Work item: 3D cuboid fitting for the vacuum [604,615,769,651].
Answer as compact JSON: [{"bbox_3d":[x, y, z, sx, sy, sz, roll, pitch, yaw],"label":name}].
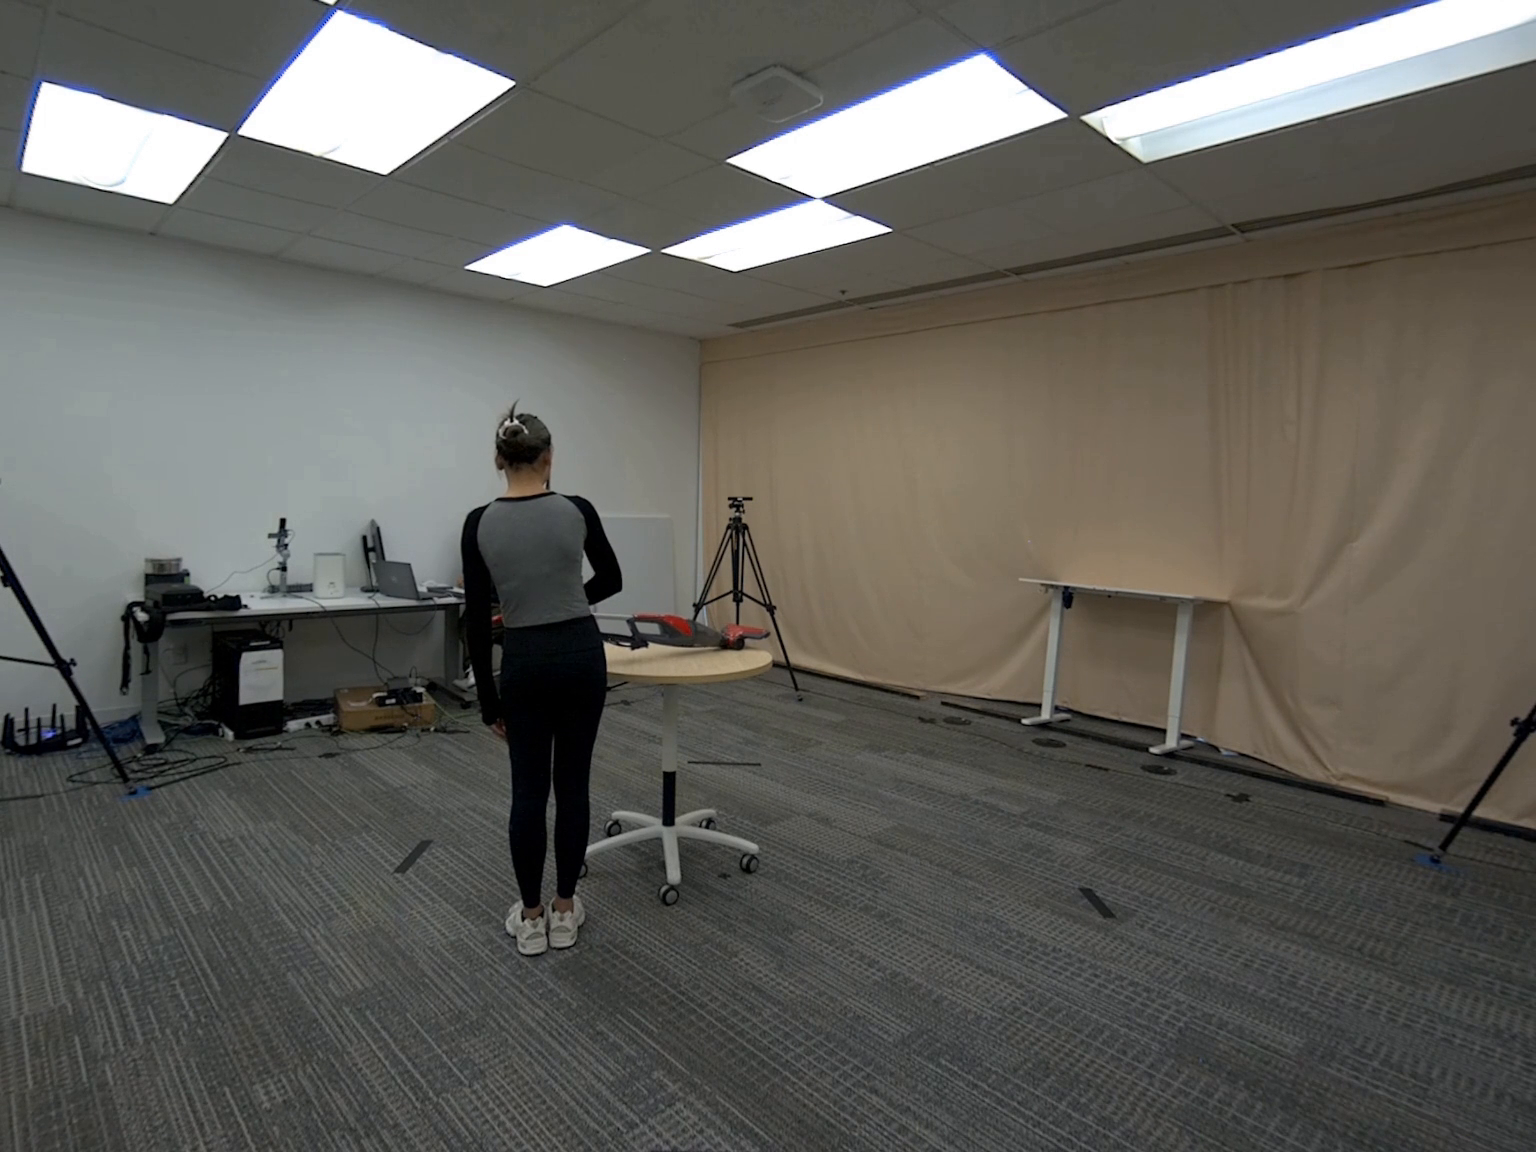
[{"bbox_3d":[-0.504,0.209,3.093,1.022,0.144,0.259,8,1,-41],"label":"vacuum"}]
